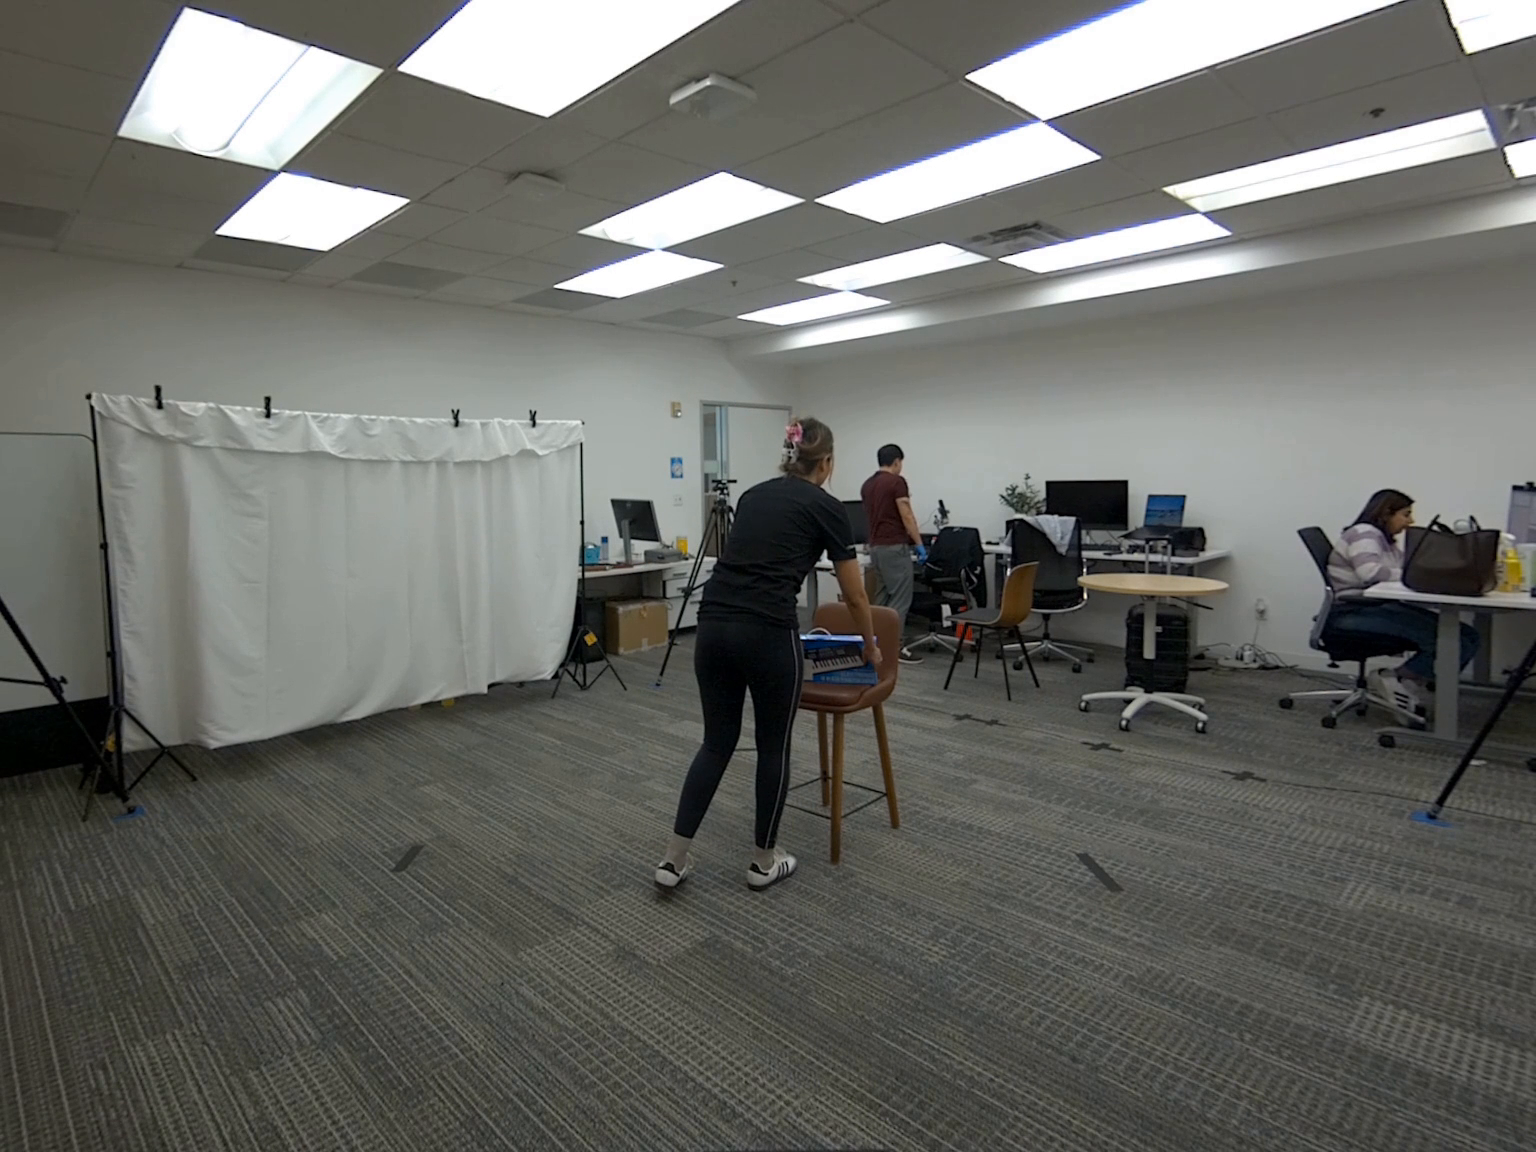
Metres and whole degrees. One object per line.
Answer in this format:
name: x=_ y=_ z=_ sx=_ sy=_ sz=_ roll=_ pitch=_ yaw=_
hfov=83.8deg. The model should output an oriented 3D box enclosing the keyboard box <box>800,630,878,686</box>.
keyboard box: x=0.205 y=0.314 z=3.298 sx=0.443 sy=0.174 sz=0.059 roll=0 pitch=9 yaw=15
